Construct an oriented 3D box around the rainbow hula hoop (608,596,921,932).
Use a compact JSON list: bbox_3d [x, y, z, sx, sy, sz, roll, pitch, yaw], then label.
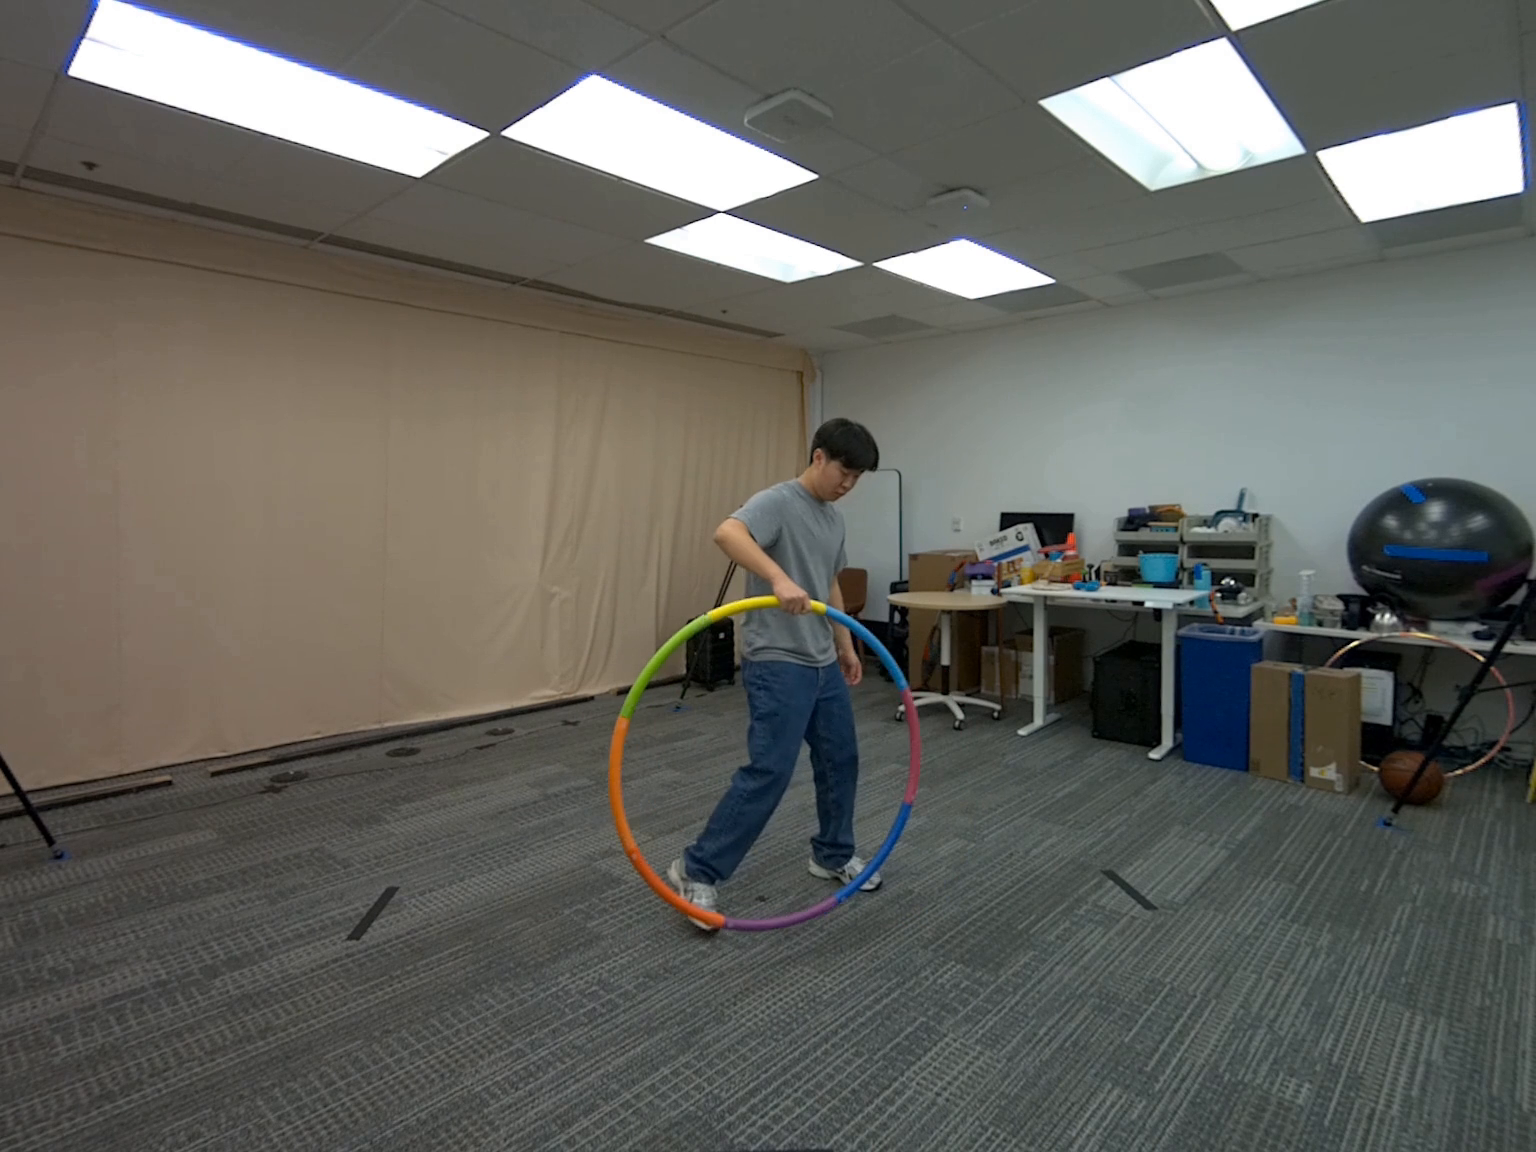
[{"bbox_3d":[0.016,0.577,2.495,0.962,0.978,0.036,-1,1,-16],"label":"rainbow hula hoop"}]
